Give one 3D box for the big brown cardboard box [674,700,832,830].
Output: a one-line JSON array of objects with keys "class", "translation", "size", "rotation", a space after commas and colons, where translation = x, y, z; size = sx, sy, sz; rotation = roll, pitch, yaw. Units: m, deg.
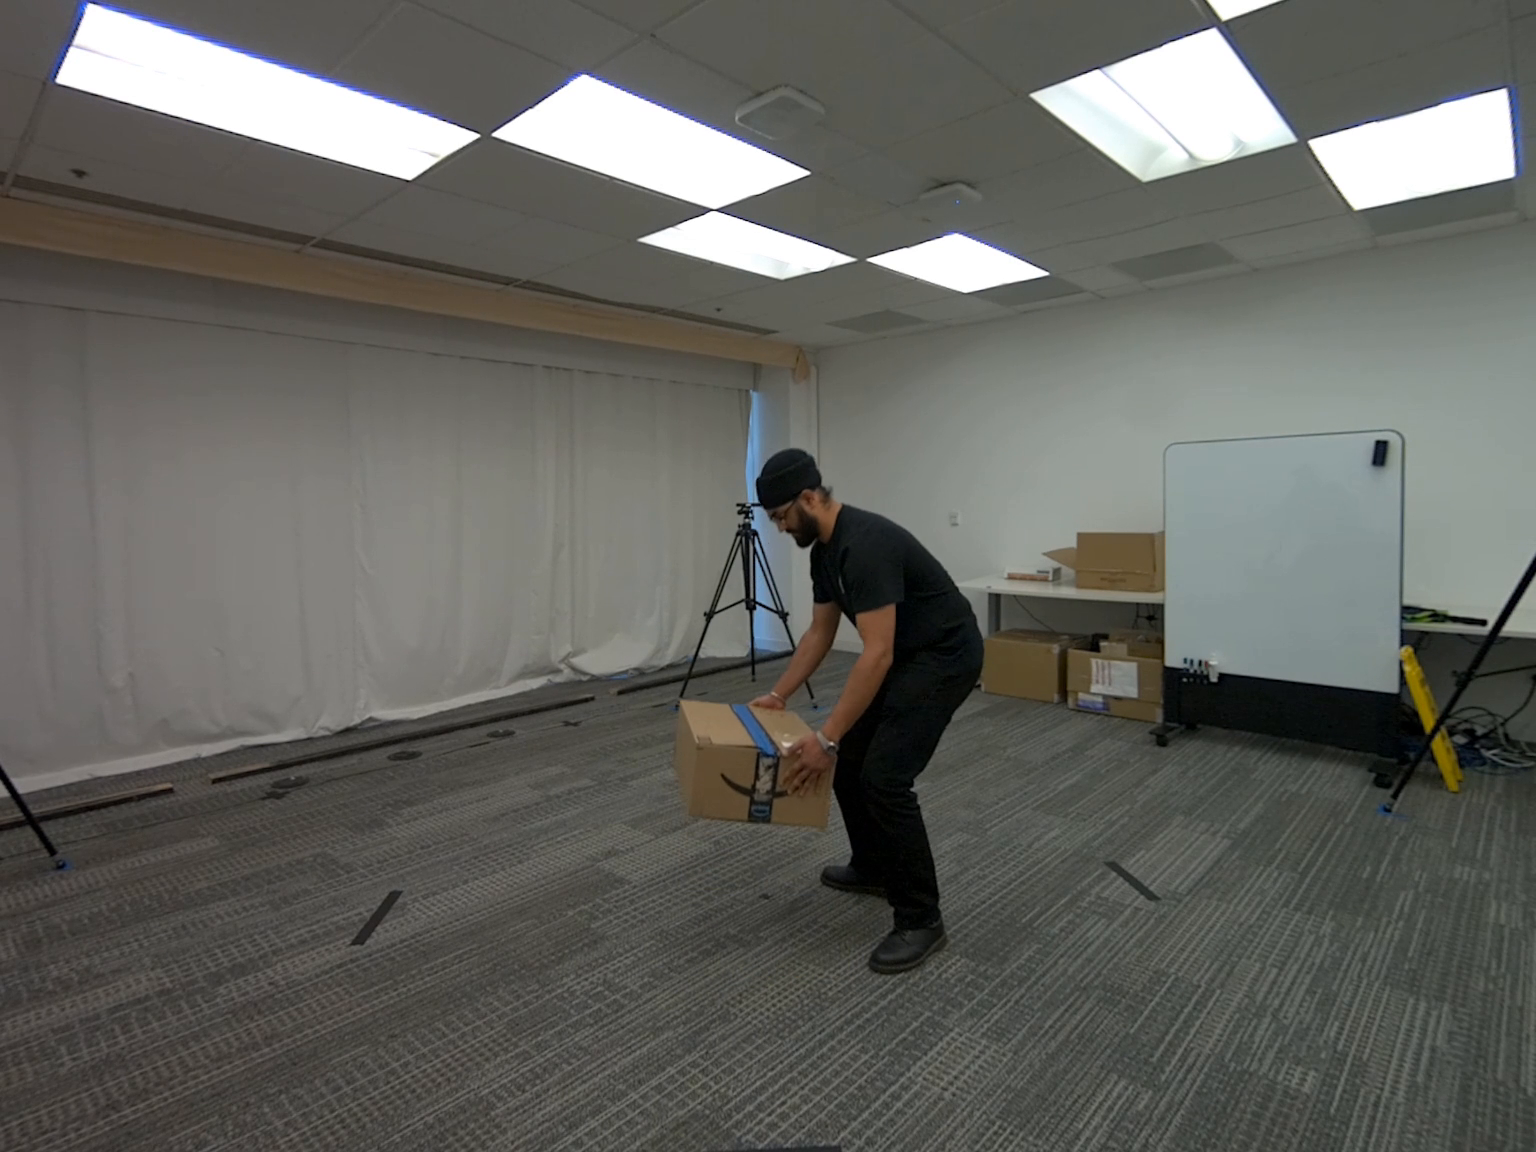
[{"class": "big brown cardboard box", "translation": [-0.062, 0.590, 2.703], "size": [0.413, 0.233, 0.596], "rotation": [6, 2, -11]}]
